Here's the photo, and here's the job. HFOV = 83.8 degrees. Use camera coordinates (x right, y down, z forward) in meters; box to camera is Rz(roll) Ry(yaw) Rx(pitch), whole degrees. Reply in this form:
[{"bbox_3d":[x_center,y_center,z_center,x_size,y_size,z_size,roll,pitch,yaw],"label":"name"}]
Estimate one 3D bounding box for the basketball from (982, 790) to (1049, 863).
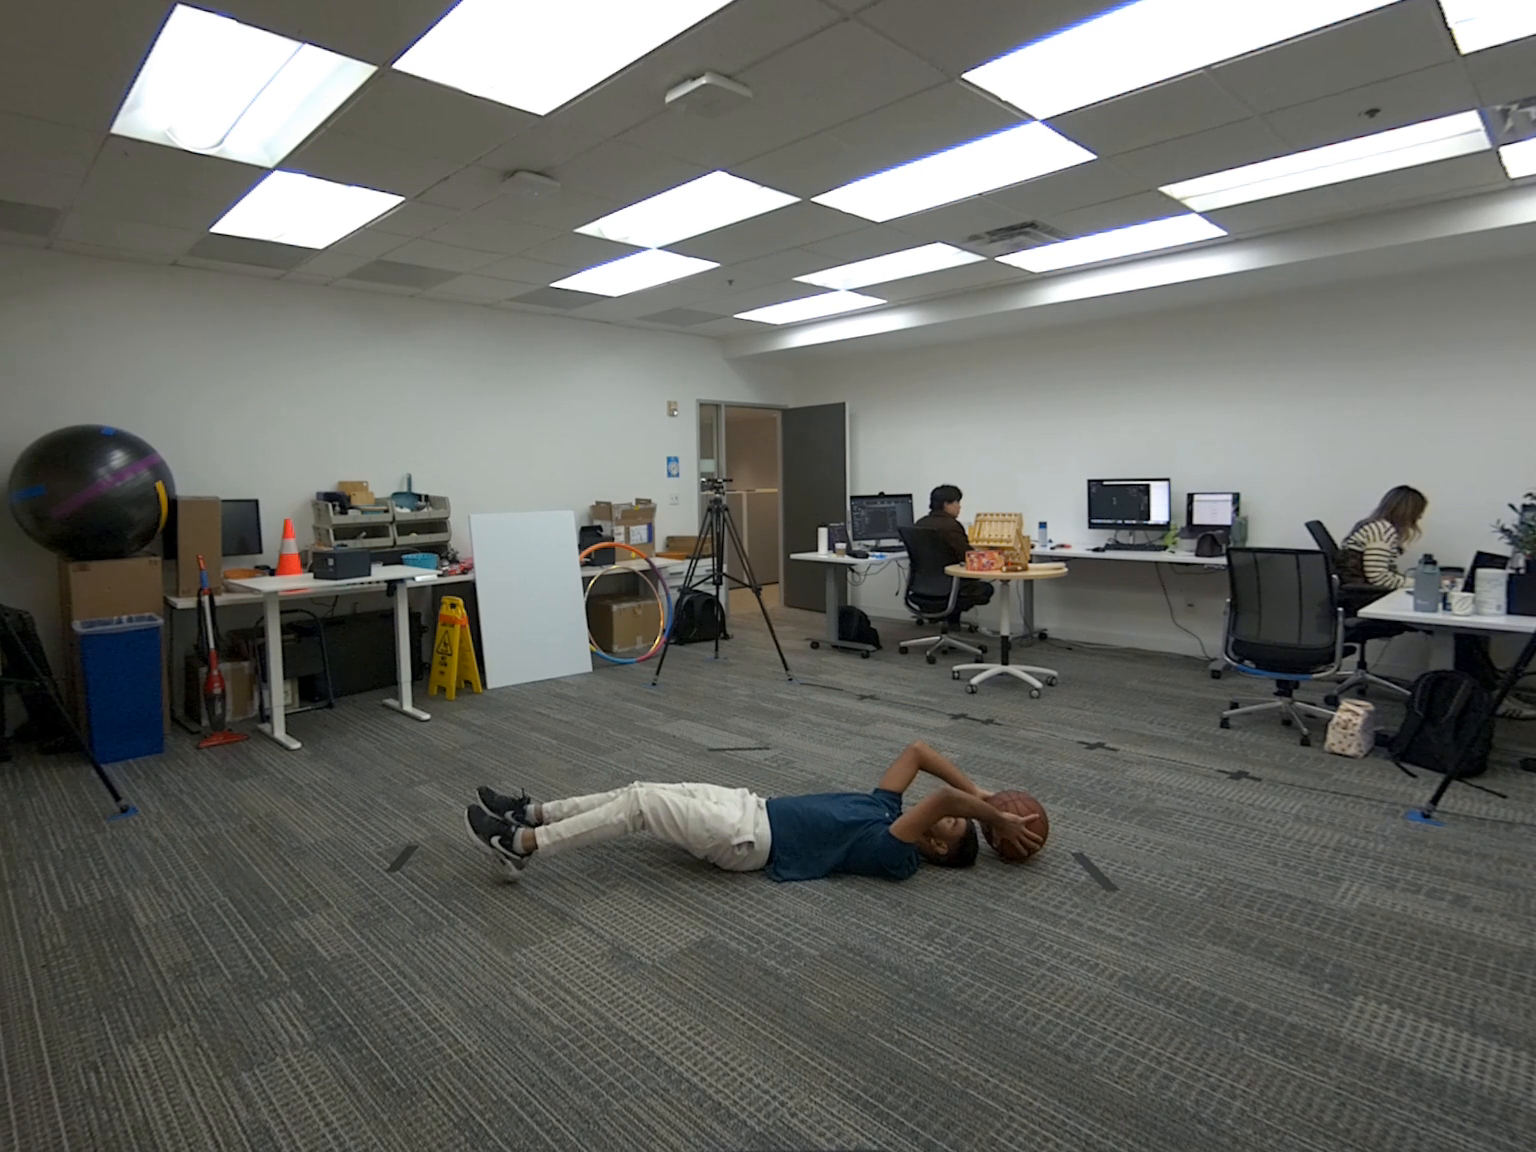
[{"bbox_3d":[0.905,0.899,3.128,0.236,0.235,0.237,-1,5,-2],"label":"basketball"}]
